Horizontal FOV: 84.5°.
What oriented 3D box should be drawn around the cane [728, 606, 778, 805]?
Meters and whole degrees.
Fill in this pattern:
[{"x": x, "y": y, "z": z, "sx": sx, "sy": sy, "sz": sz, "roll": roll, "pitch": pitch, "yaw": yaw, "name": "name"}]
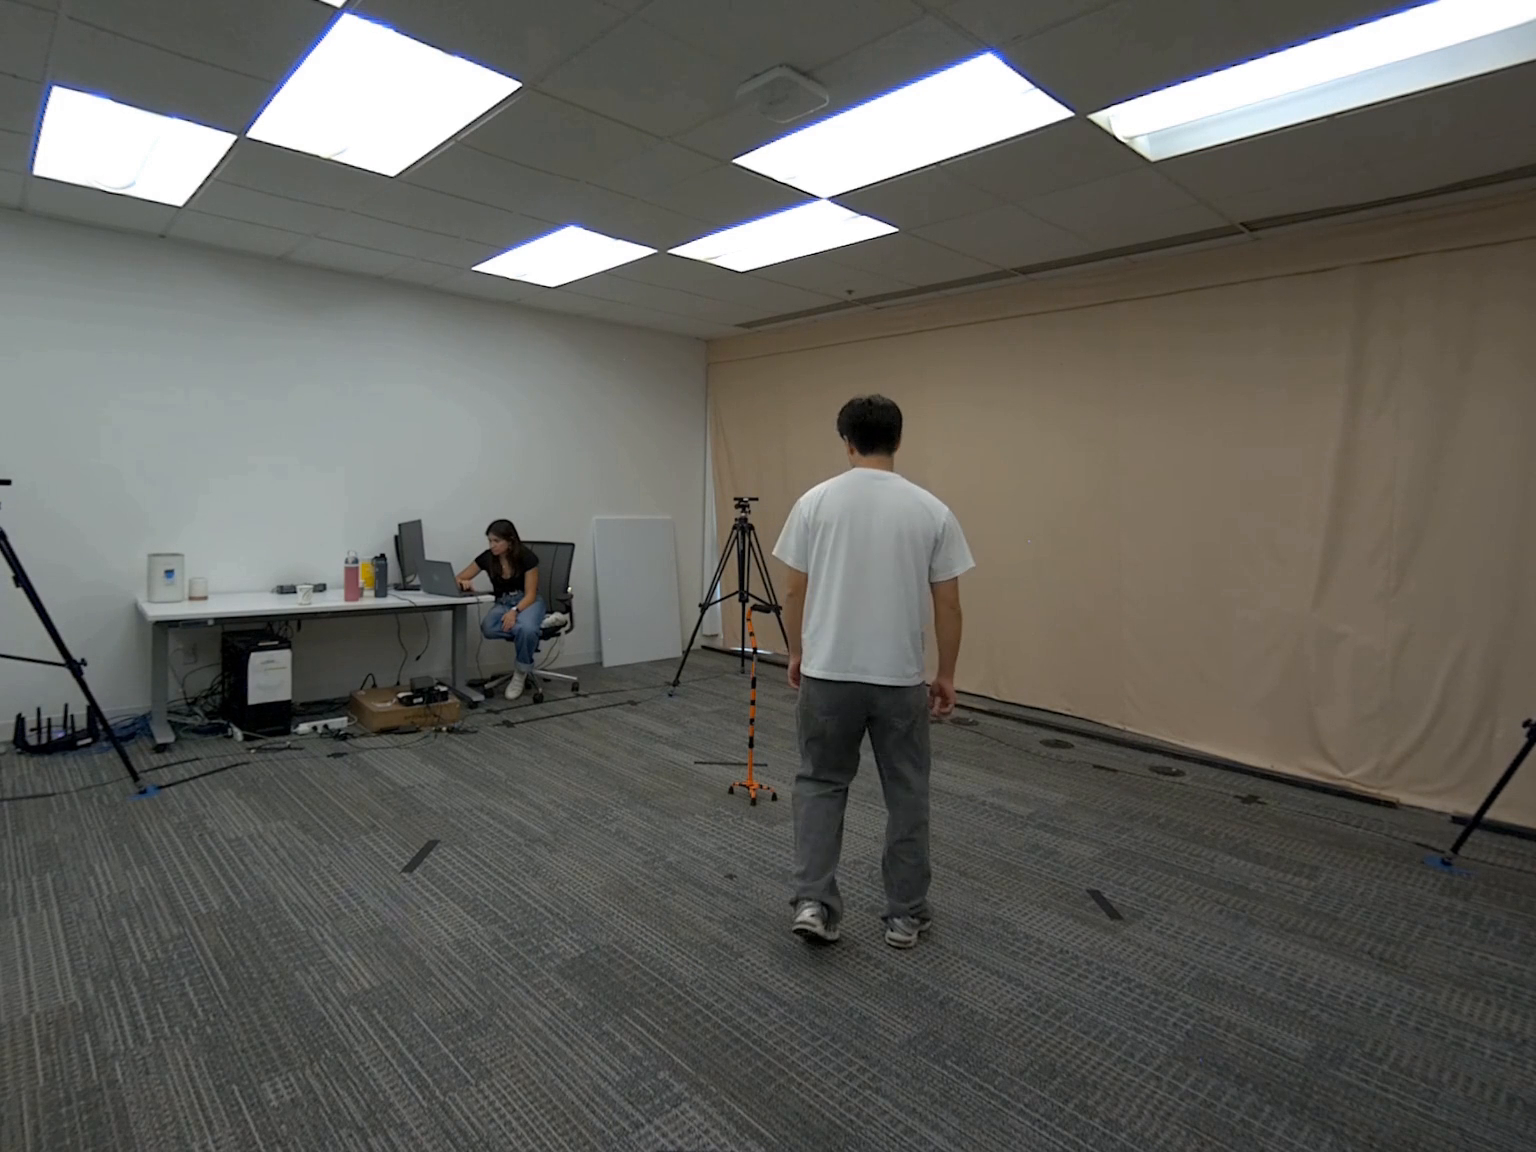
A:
[{"x": -0.068, "y": 0.586, "z": 3.931, "sx": 0.148, "sy": 0.906, "sz": 0.211, "roll": 0, "pitch": 4, "yaw": -36, "name": "cane"}]
